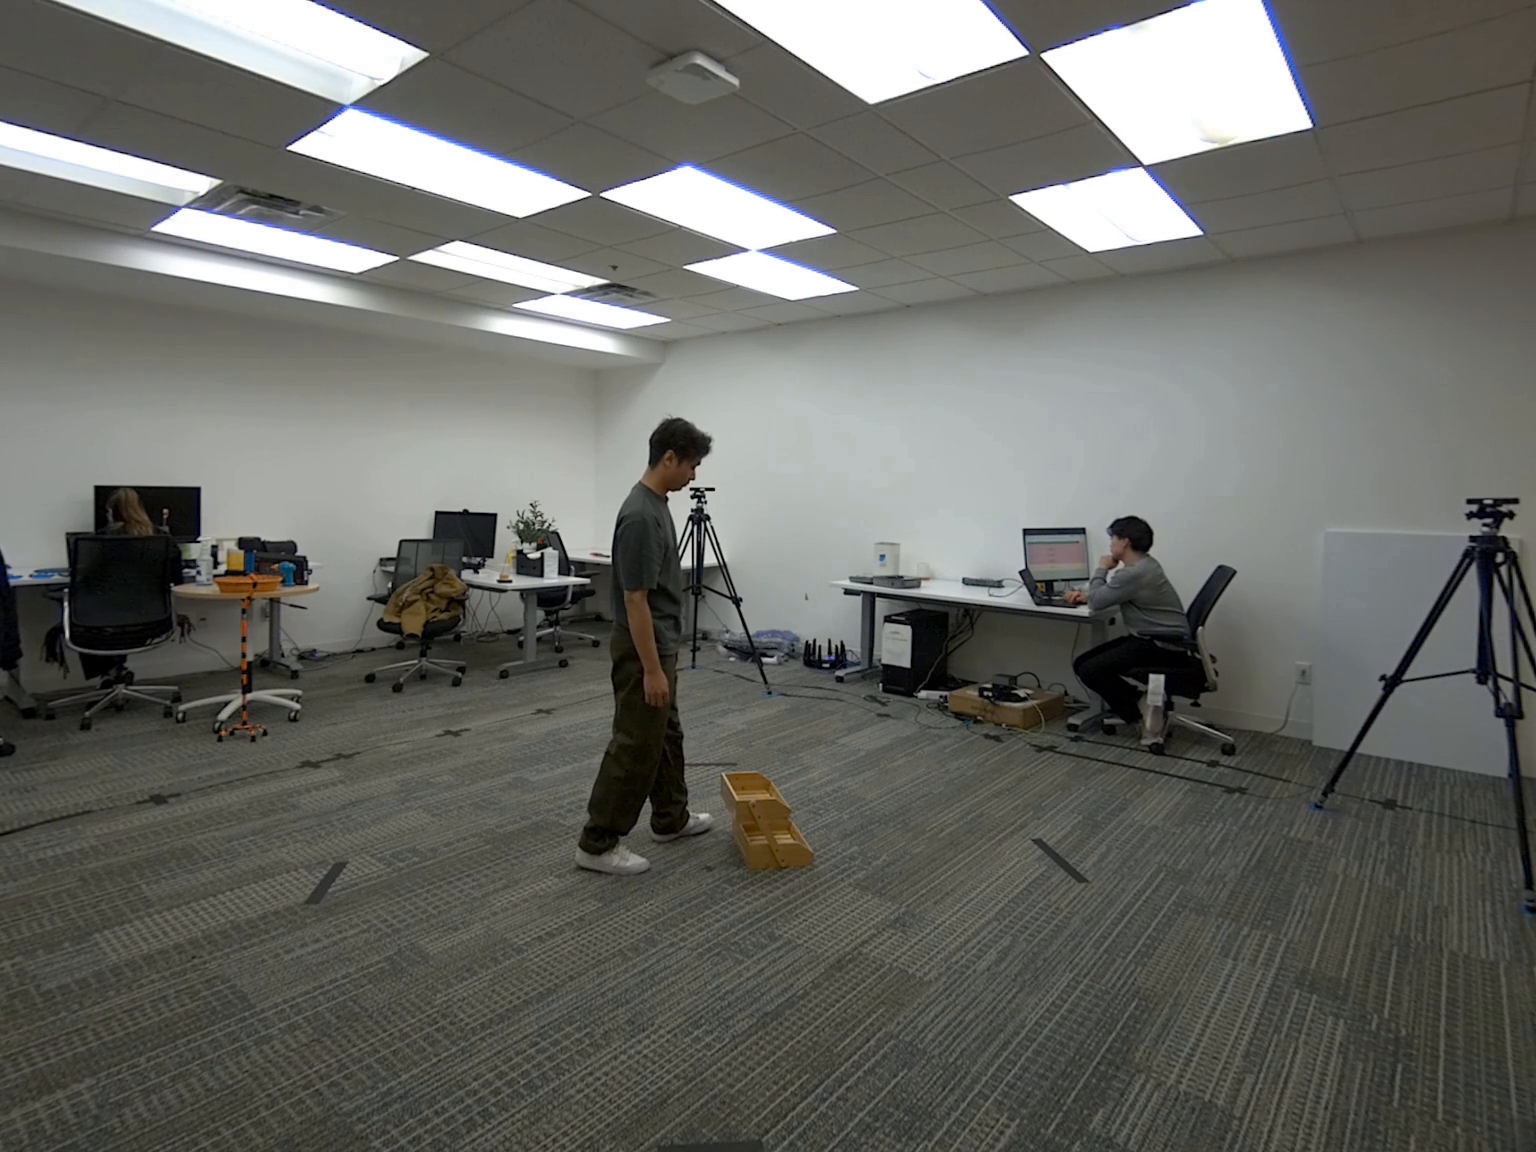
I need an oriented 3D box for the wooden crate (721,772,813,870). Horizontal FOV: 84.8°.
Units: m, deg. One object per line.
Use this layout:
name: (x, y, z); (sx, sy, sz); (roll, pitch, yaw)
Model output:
wooden crate: (-0.012, 0.925, 3.262); (0.298, 0.272, 0.330); (0, 5, -13)
